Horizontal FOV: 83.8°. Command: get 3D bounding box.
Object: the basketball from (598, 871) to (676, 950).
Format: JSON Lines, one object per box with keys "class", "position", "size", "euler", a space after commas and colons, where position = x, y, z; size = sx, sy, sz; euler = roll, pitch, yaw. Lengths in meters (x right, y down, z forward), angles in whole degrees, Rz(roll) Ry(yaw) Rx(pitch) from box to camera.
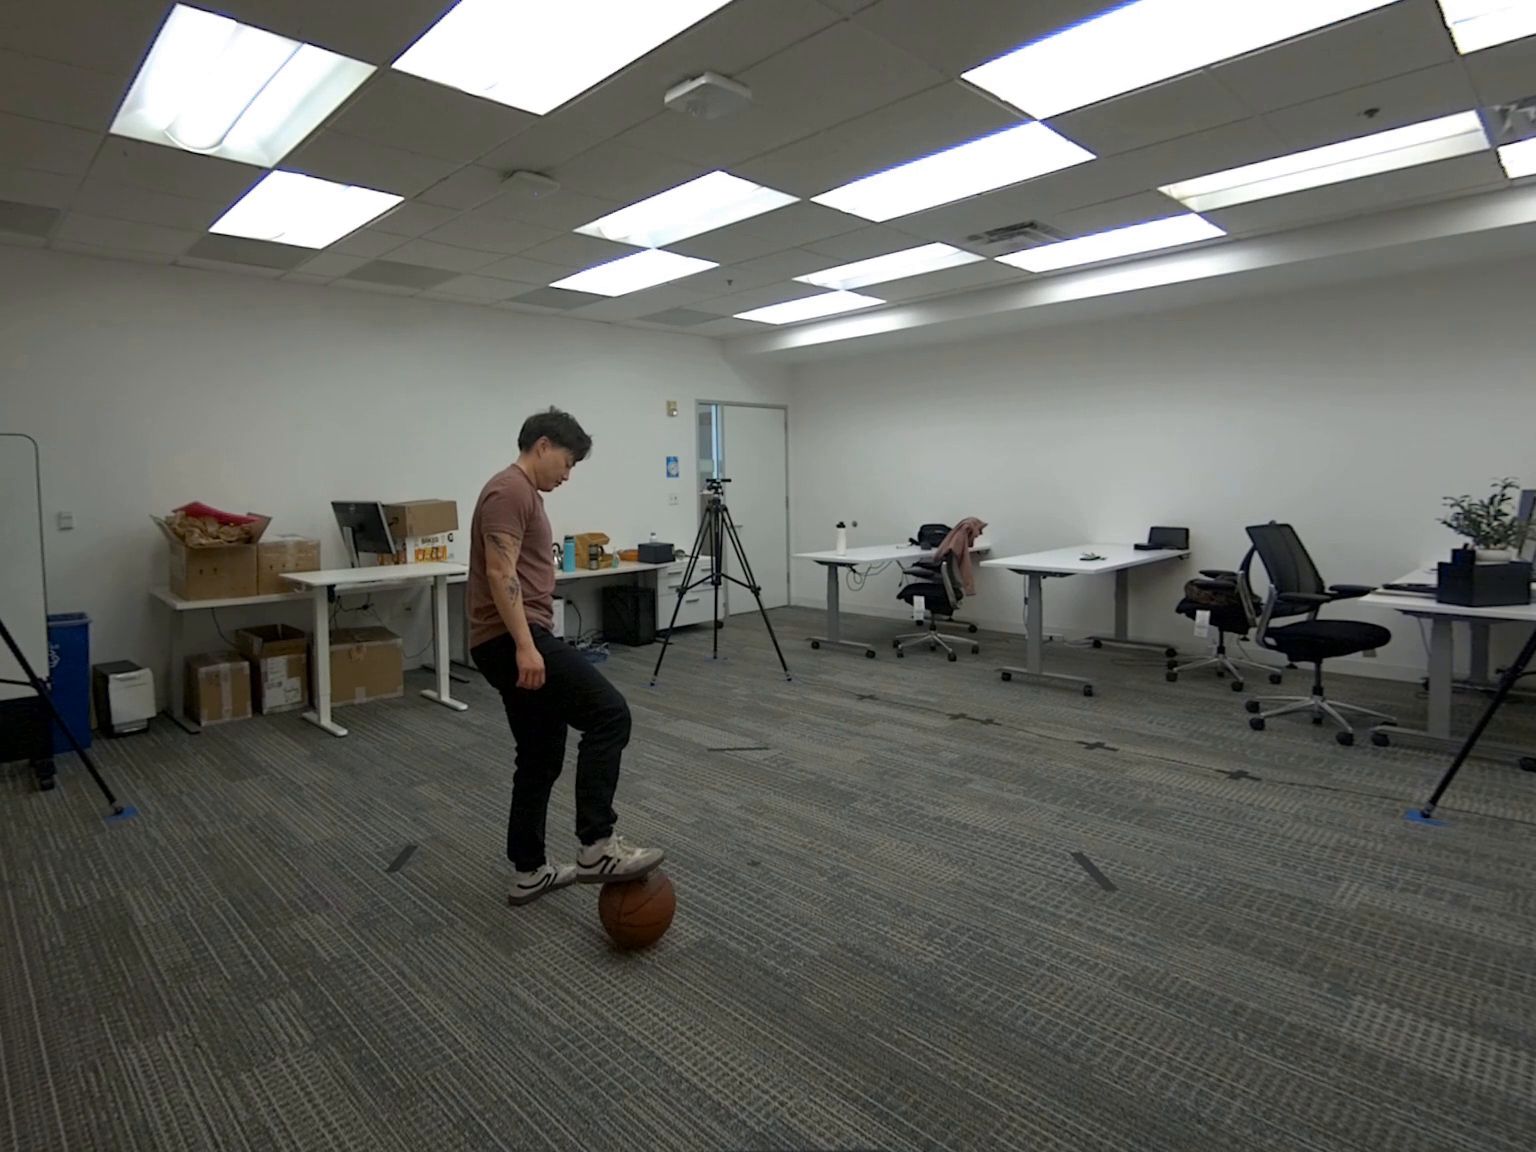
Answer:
{"class": "basketball", "position": [-0.394, 0.994, 2.597], "size": [0.236, 0.235, 0.237], "euler": [-1, 5, -2]}
